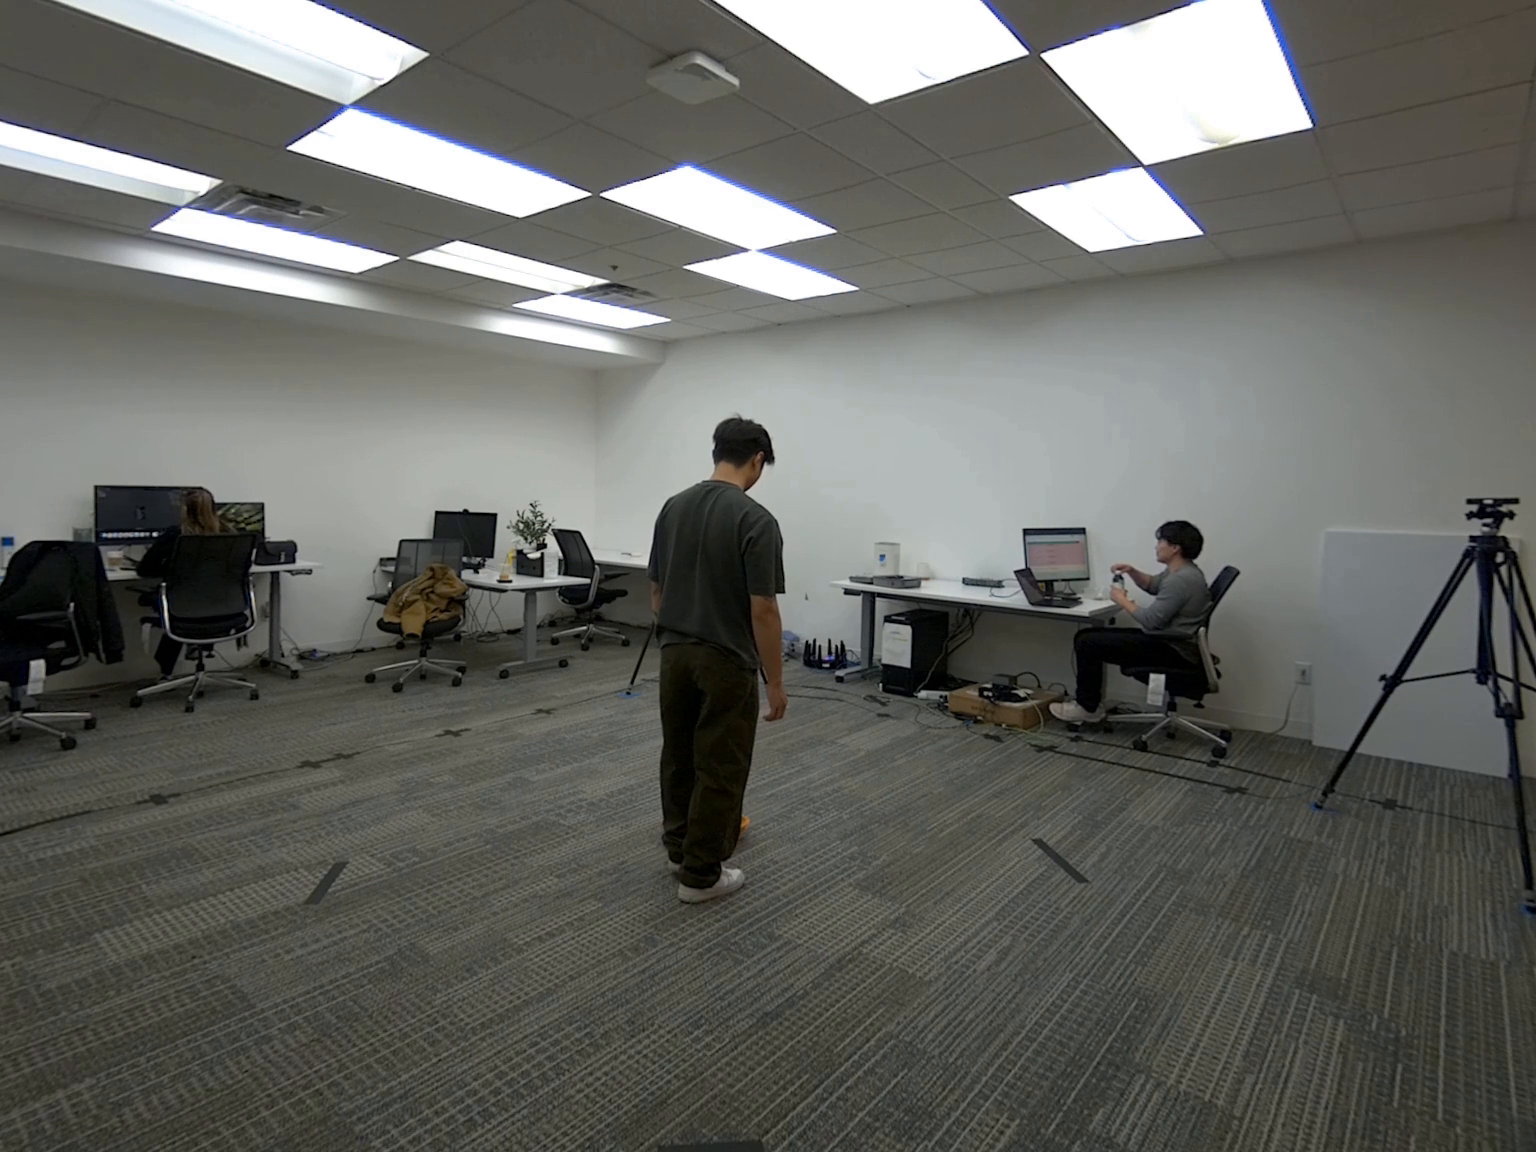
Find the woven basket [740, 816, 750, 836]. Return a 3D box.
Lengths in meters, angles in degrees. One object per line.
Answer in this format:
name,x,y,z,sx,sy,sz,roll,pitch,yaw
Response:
woven basket,-0.256,0.990,3.369,0.347,0.073,0.255,0,1,-8
